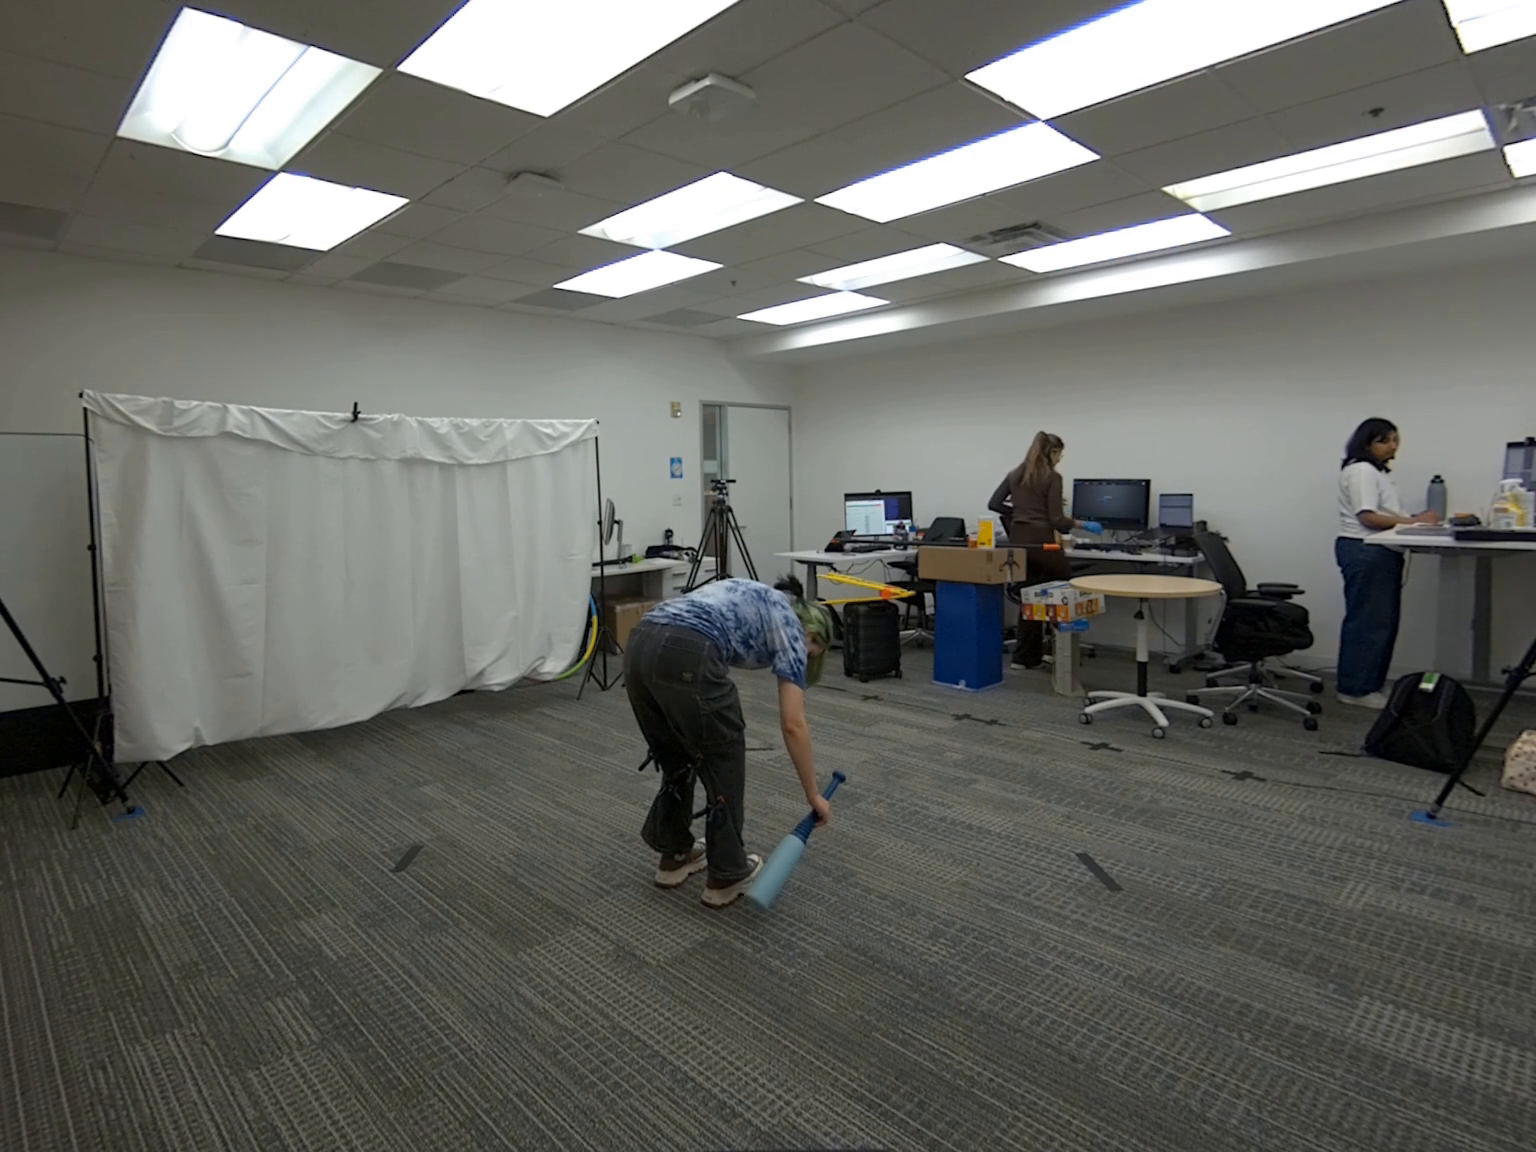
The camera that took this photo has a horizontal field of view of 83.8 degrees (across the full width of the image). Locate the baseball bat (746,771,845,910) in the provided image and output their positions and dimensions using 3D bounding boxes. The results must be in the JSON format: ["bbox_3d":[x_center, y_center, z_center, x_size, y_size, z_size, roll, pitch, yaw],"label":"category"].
[{"bbox_3d":[0.100,0.859,2.809,0.092,0.086,0.543,3,40,43],"label":"baseball bat"}]
